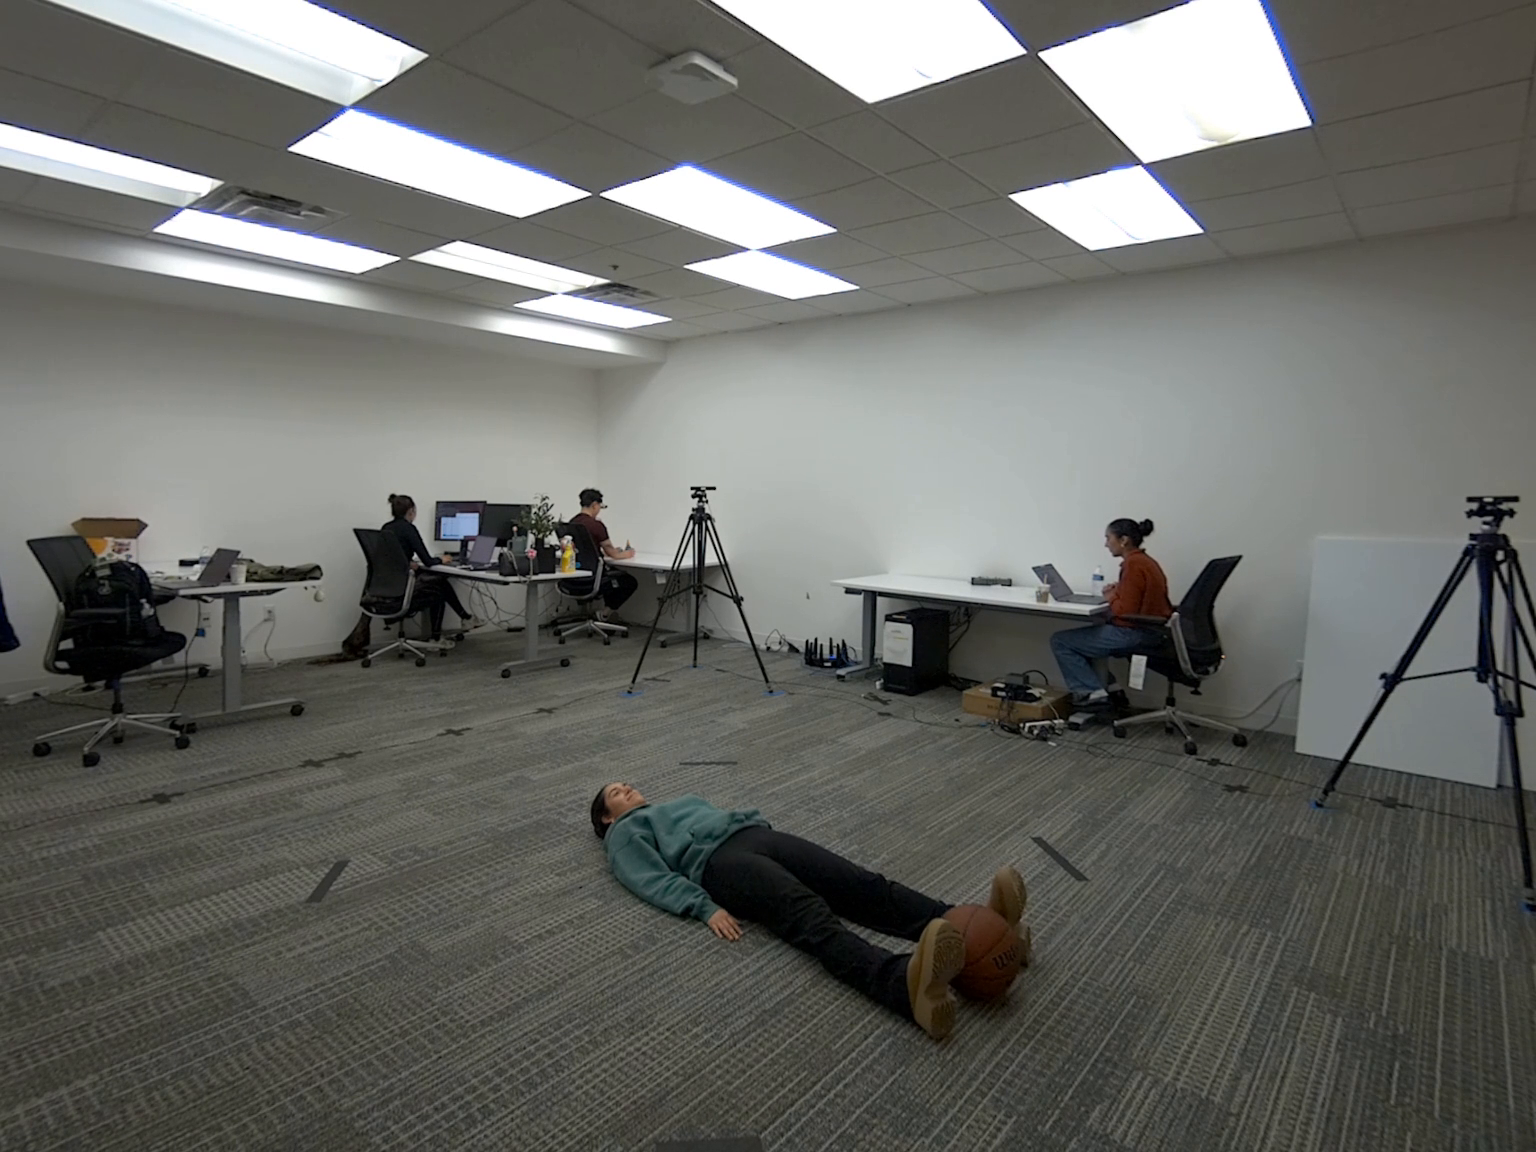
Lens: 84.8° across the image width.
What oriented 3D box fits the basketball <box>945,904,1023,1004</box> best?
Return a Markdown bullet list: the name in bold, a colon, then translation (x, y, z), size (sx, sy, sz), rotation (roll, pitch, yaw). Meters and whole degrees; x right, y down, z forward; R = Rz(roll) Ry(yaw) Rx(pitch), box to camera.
- **basketball**: translation (0.567, 1.033, 2.377), size (0.236, 0.235, 0.237), rotation (0, 4, -2)
